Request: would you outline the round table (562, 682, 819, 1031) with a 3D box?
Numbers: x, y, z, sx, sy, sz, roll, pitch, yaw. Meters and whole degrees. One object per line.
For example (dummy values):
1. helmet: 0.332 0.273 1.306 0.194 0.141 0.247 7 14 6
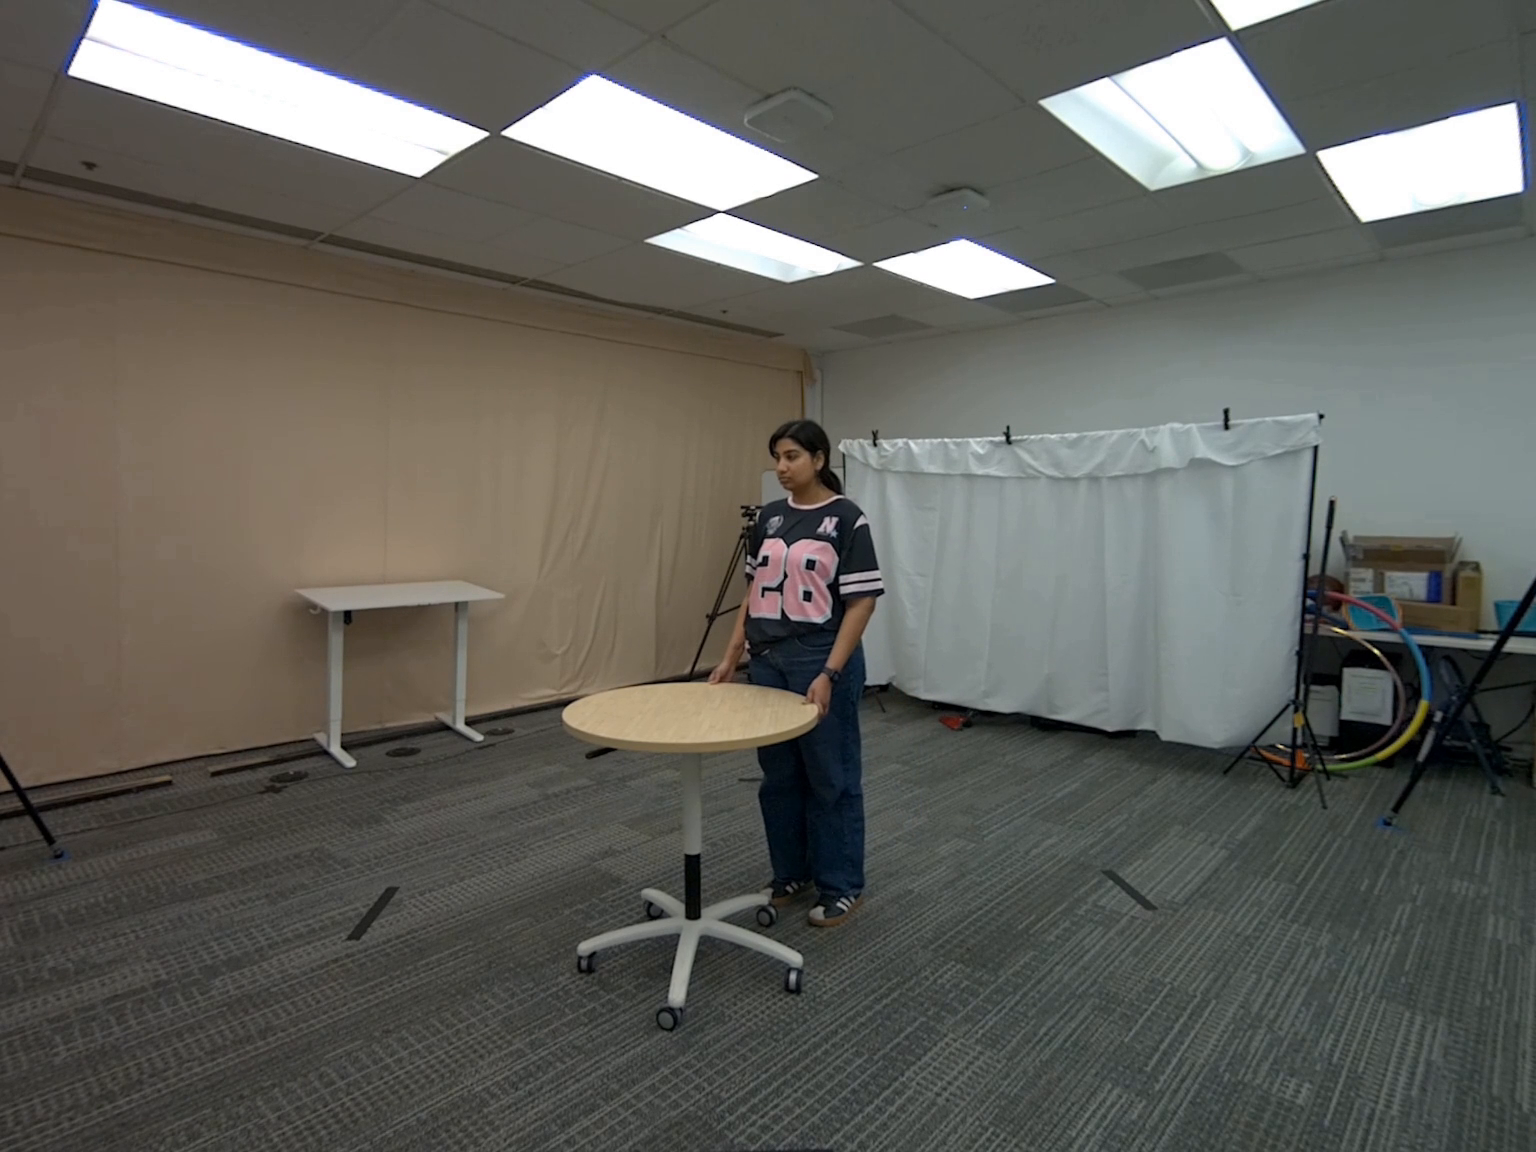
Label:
1. round table: -0.216 0.786 2.560 0.784 0.785 0.788 -1 4 -2
